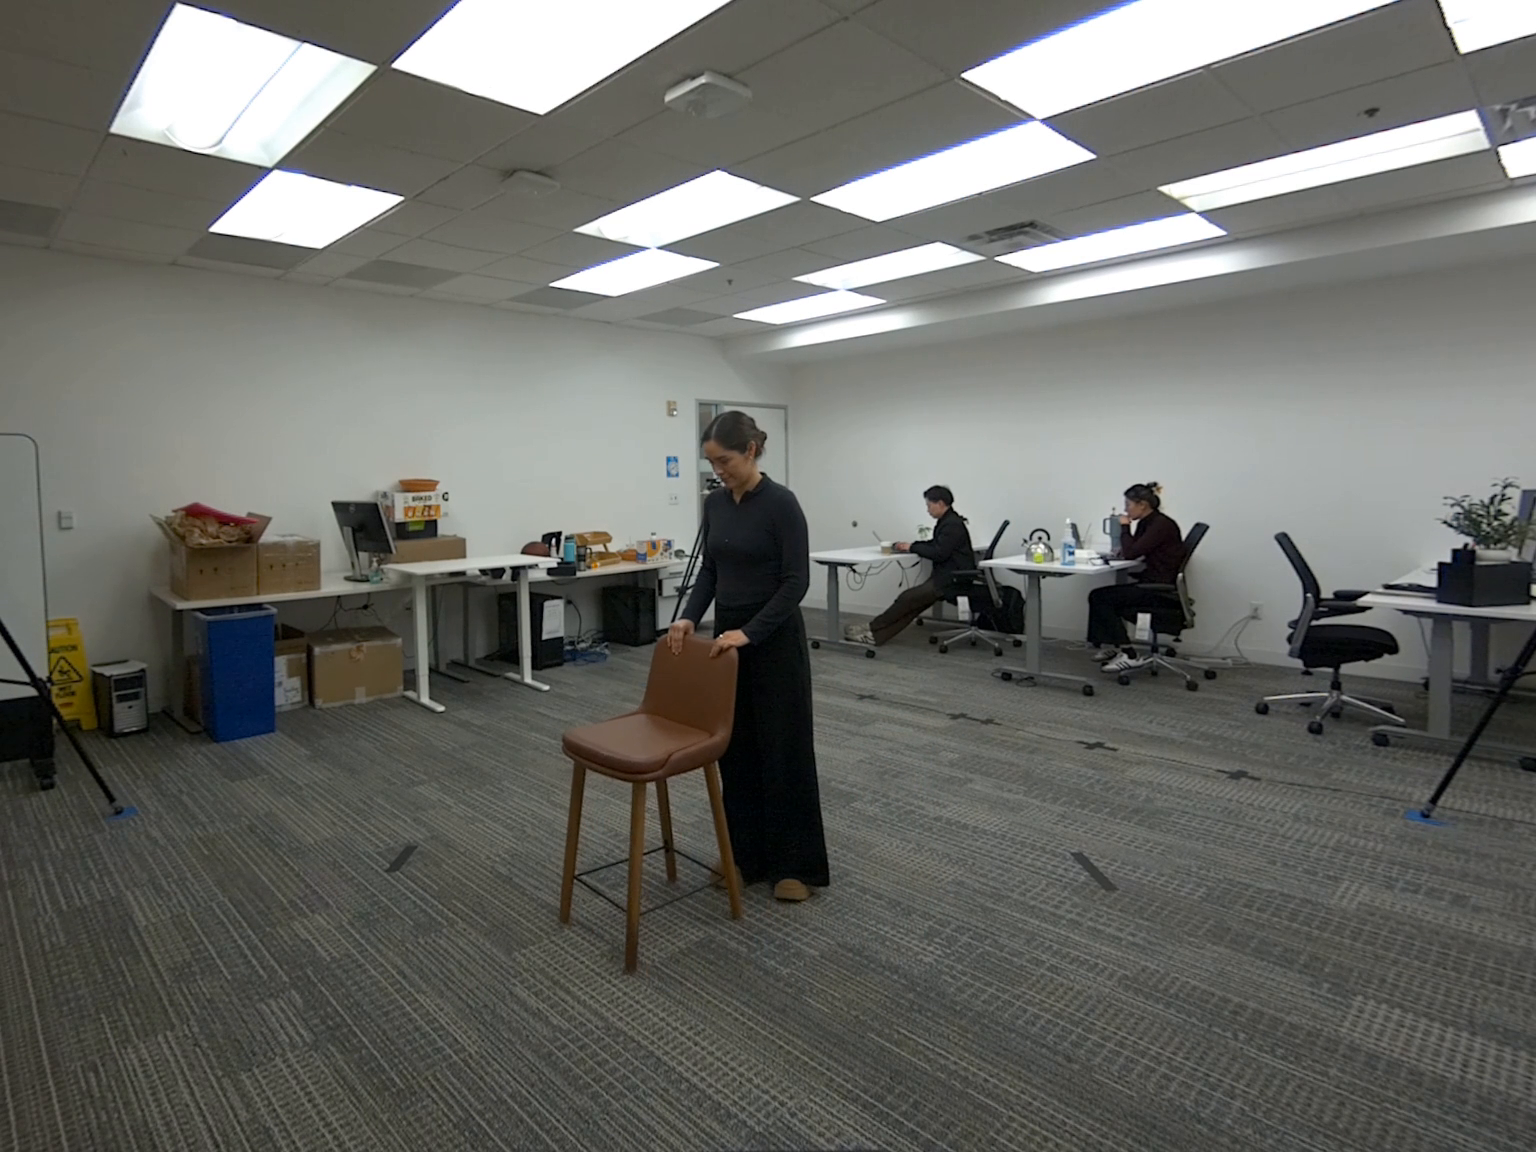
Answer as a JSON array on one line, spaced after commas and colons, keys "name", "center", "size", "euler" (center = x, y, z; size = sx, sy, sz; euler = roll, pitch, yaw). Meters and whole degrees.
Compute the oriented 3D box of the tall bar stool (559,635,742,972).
[{"name": "tall bar stool", "center": [-0.361, 0.658, 2.696], "size": [0.454, 0.888, 0.470], "euler": [-2, 4, -41]}]
